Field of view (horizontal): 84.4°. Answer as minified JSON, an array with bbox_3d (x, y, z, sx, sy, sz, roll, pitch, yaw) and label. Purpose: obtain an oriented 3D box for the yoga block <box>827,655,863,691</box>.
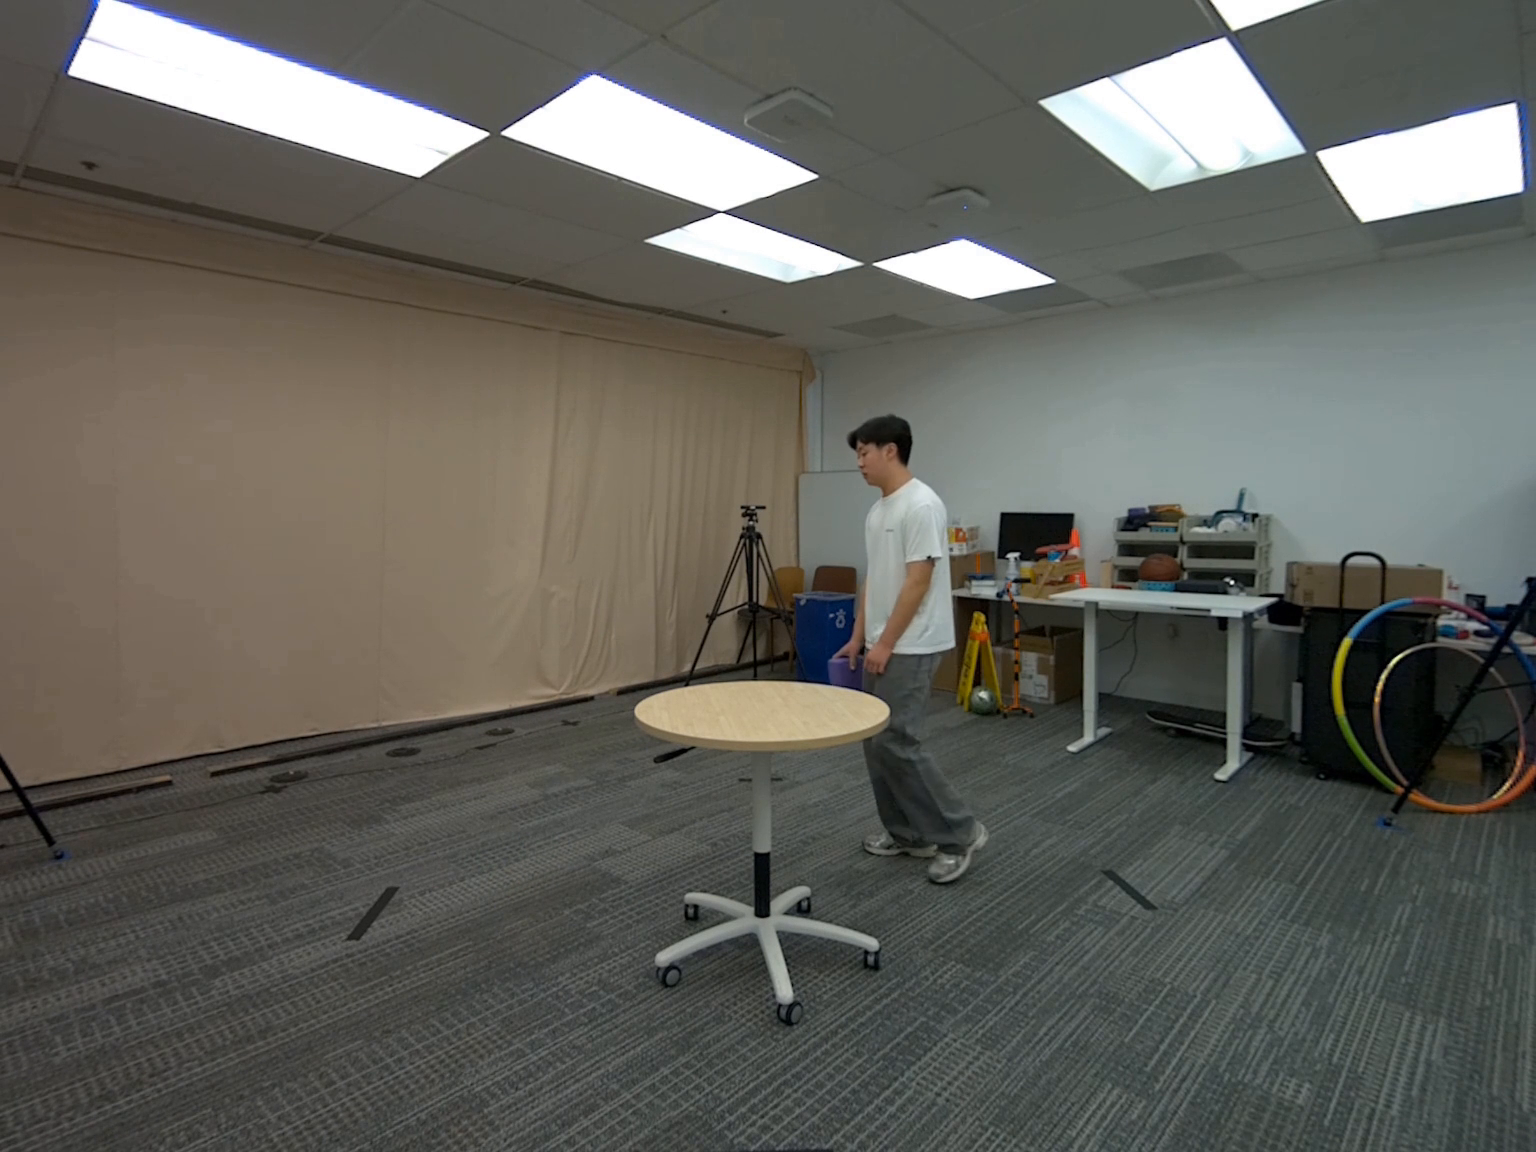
[{"bbox_3d":[0.356,0.460,3.497,0.145,0.229,0.078,-6,1,-28],"label":"yoga block"}]
